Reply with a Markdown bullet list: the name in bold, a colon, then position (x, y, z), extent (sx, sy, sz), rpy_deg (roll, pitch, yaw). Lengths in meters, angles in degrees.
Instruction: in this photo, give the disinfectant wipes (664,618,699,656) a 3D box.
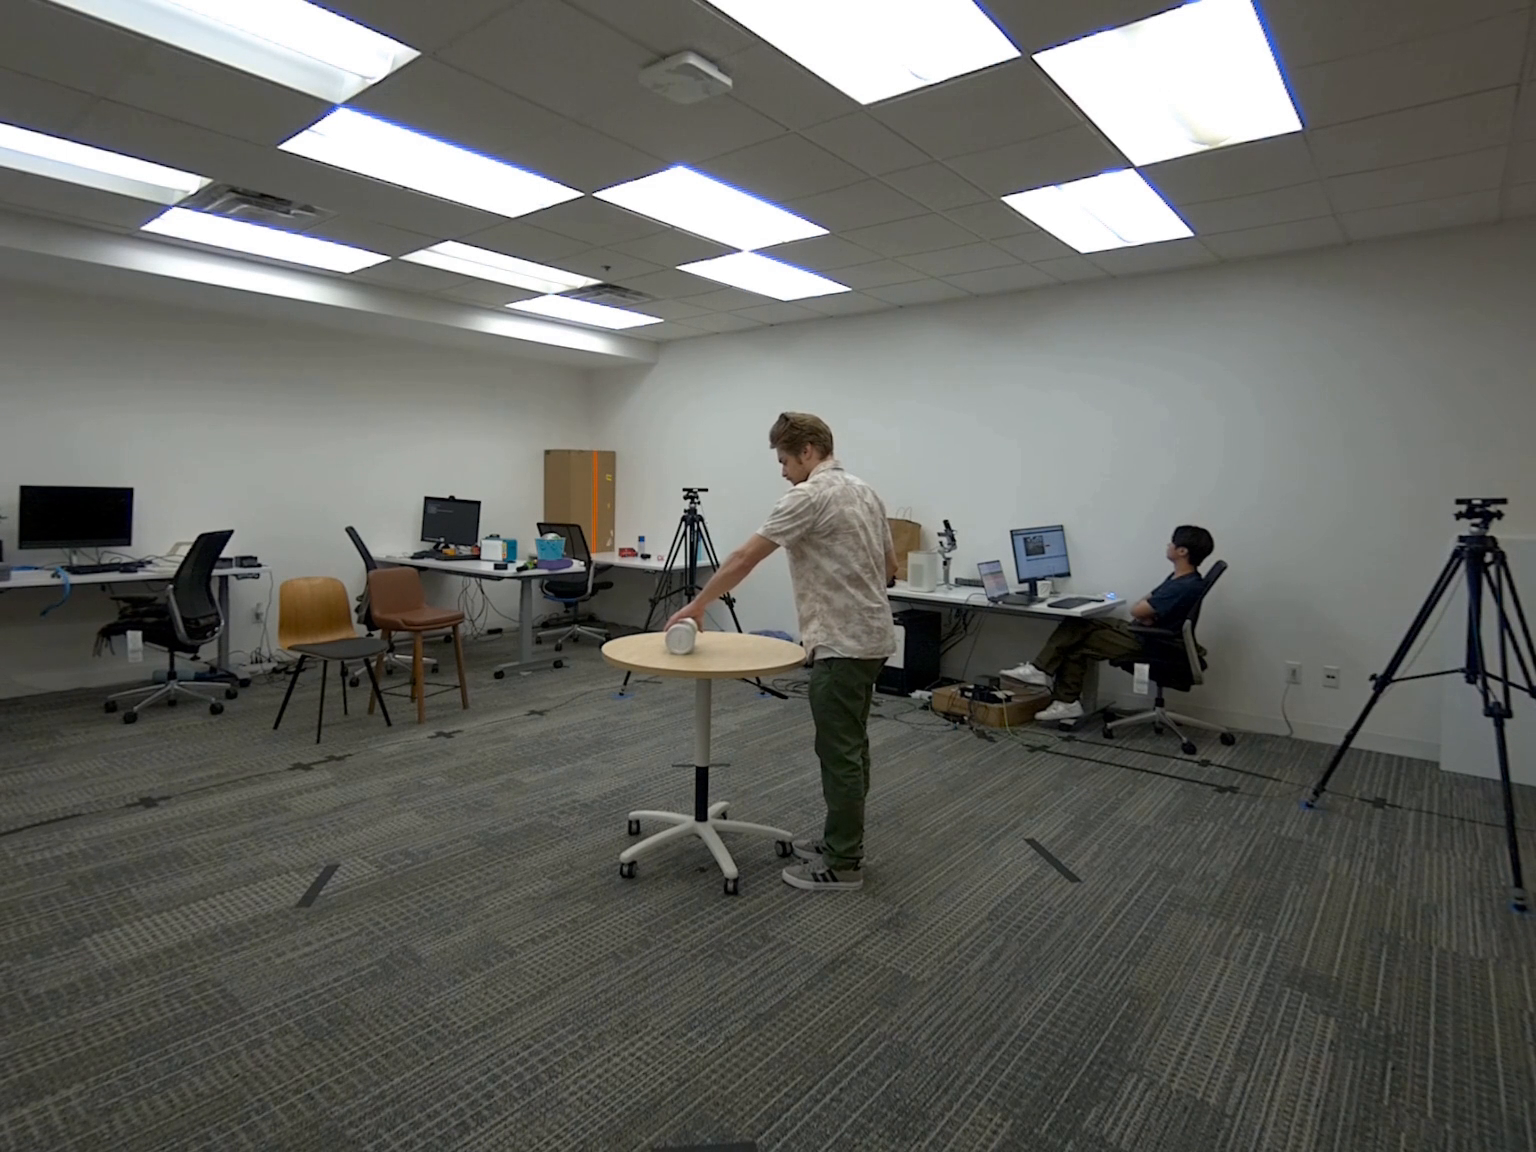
- **disinfectant wipes**: position (-0.333, 0.215, 3.162), extent (0.117, 0.117, 0.219), rpy_deg (1, 3, -6)
